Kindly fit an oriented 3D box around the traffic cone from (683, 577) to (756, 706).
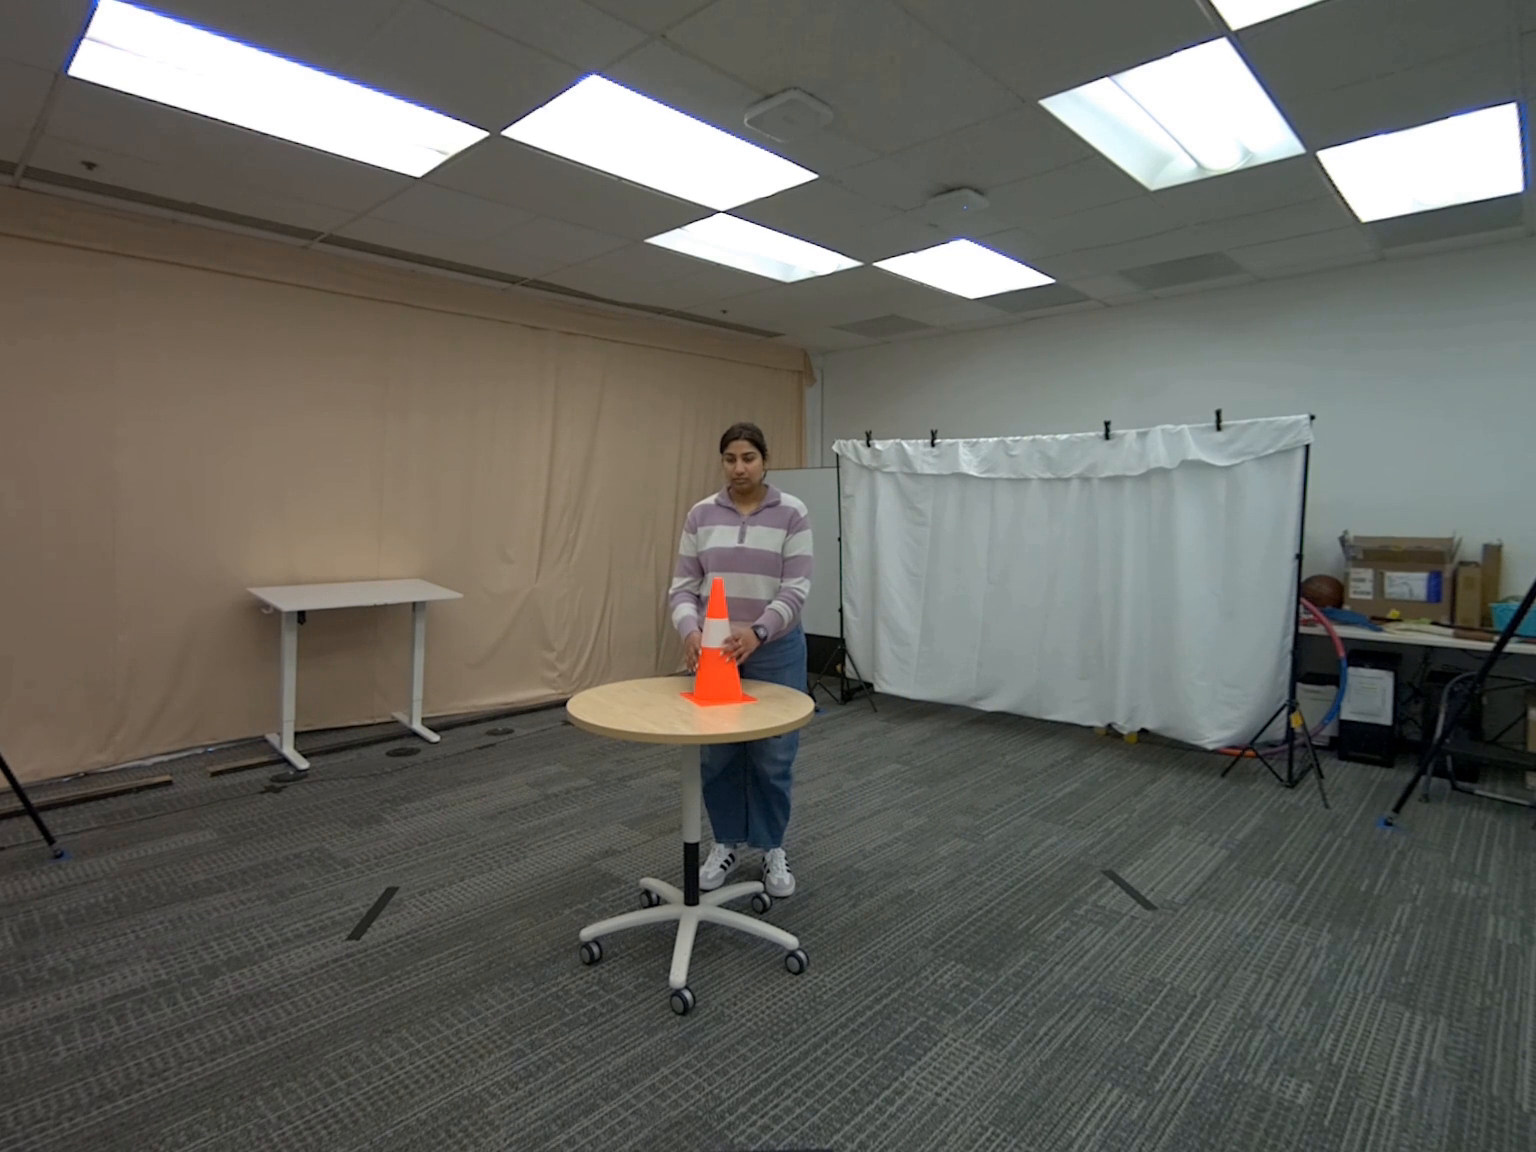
[{"bbox_3d":[-0.168,0.198,2.678,0.197,0.383,0.211,-2,3,-35],"label":"traffic cone"}]
